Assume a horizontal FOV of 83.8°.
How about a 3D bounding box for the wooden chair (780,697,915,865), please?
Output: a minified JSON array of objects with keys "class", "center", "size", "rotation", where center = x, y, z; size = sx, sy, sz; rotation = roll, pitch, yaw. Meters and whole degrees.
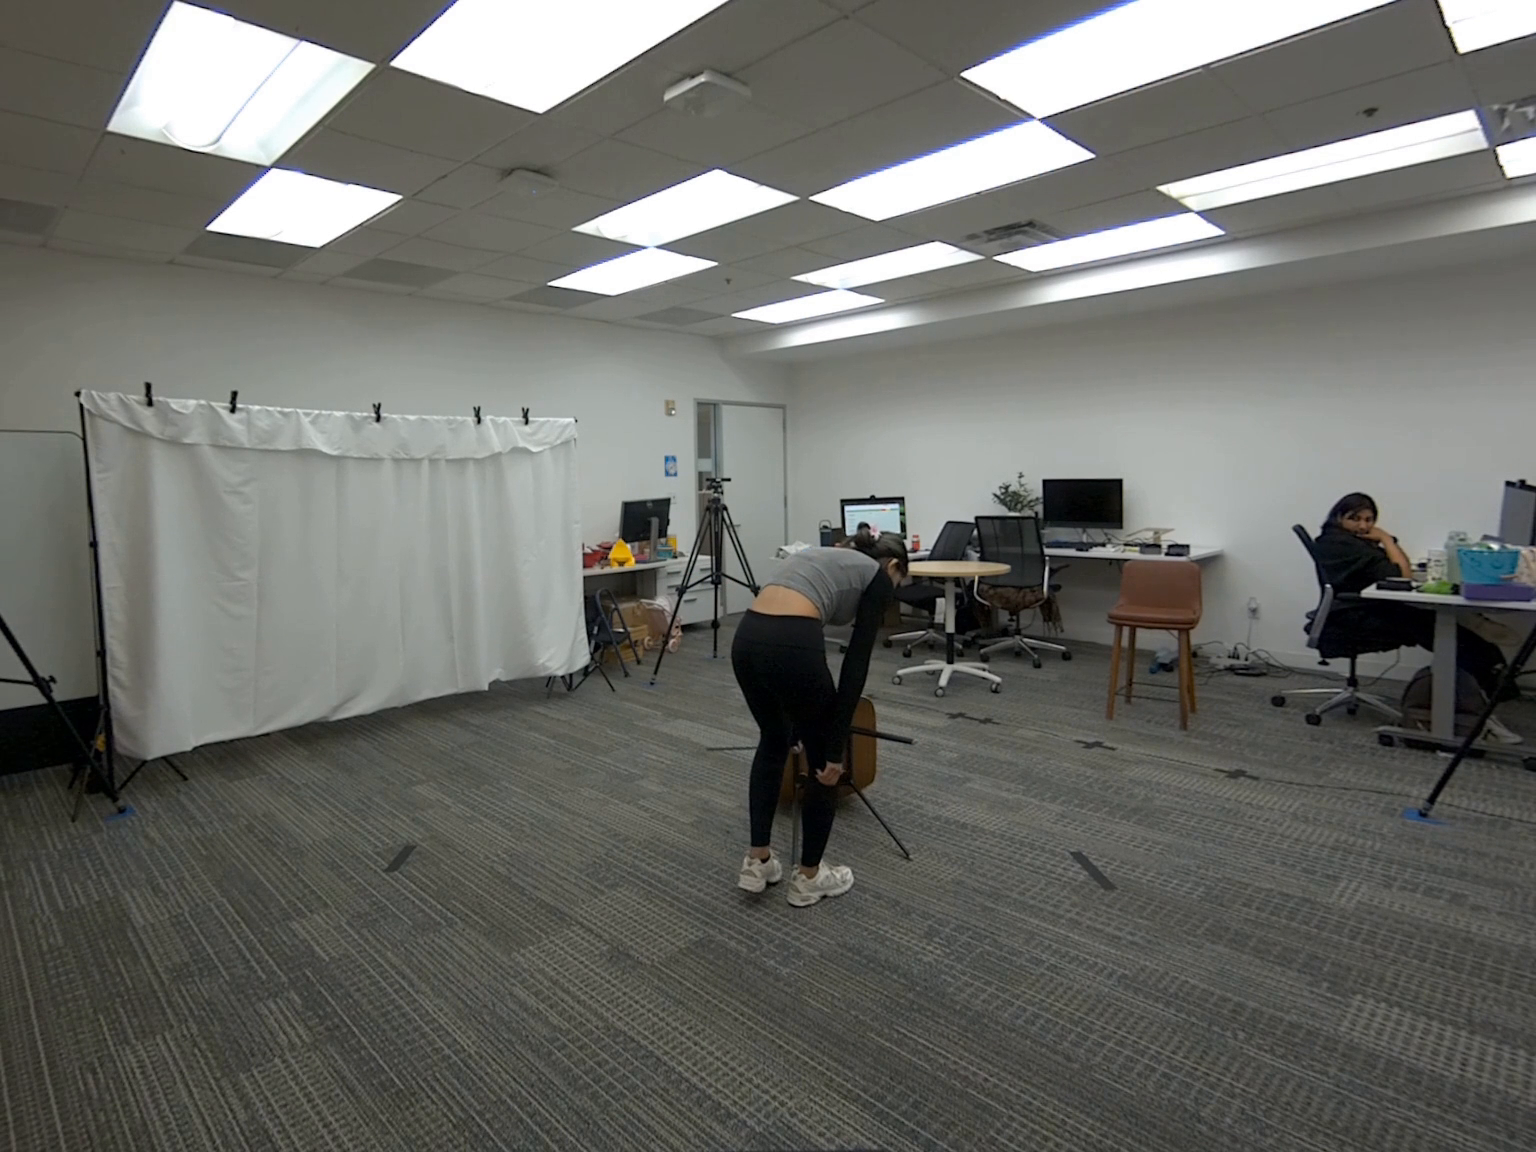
[{"class":"wooden chair","center":[0.230,0.737,3.463],"size":[0.474,0.521,0.888],"rotation":[-2,5,-10]}]
